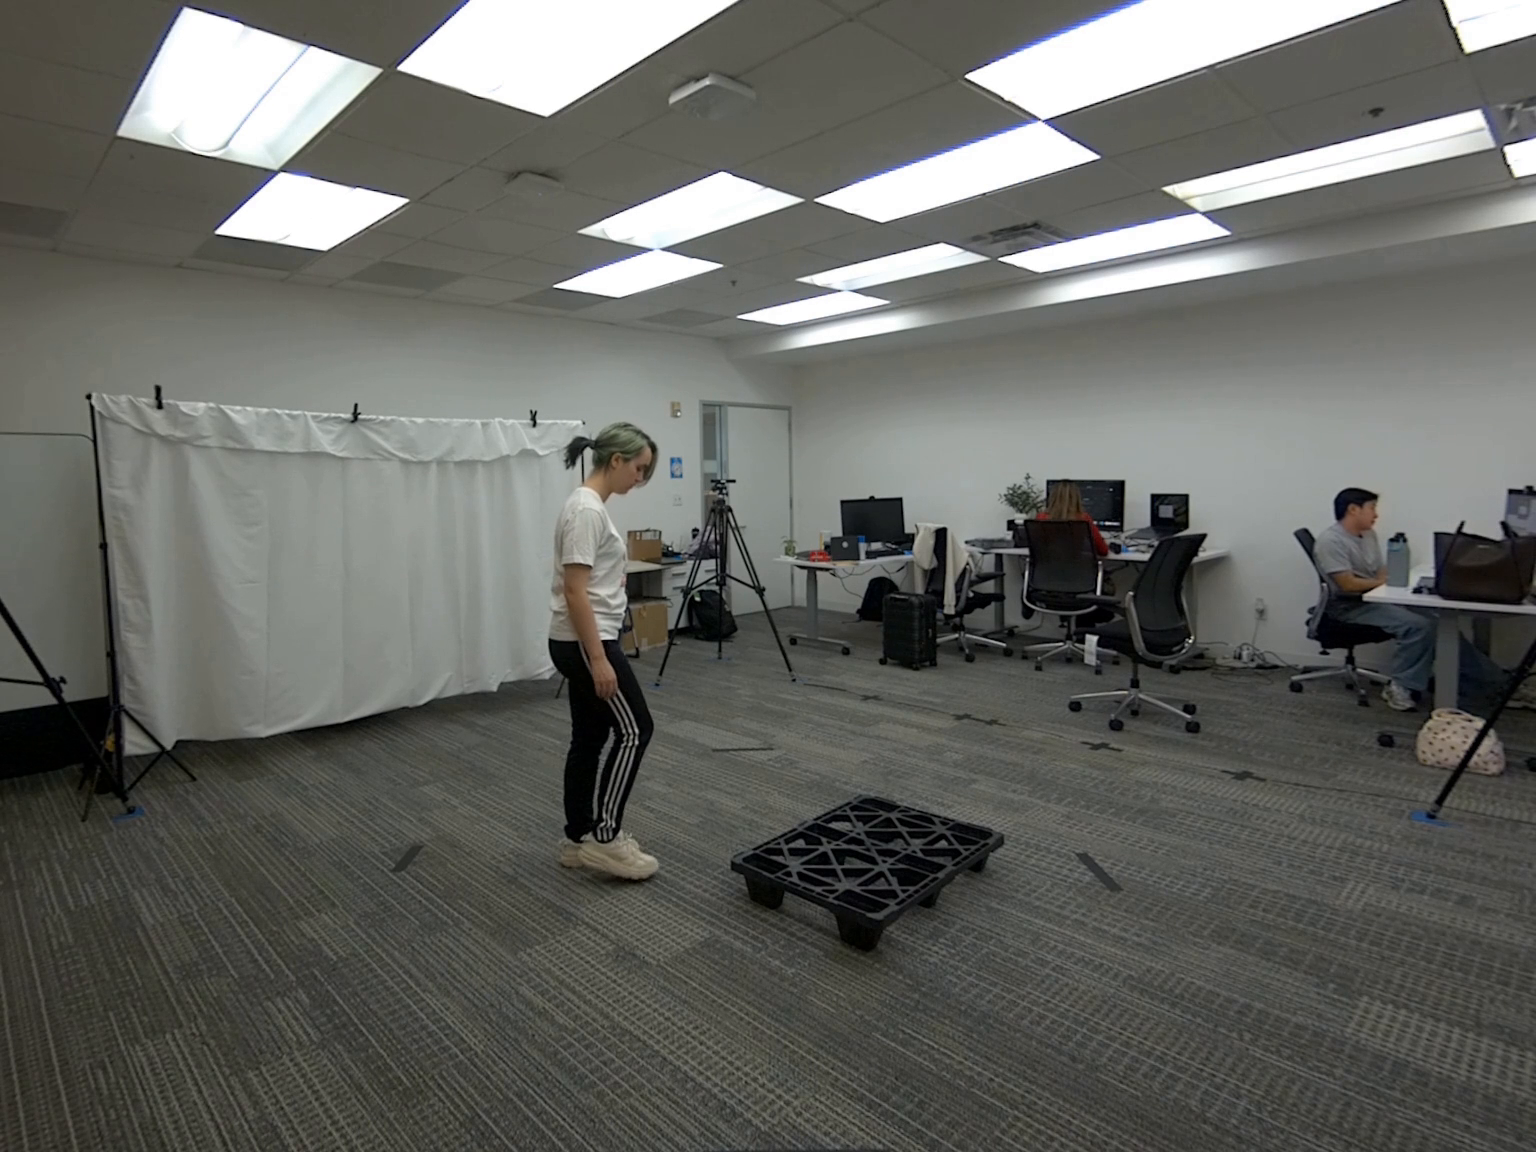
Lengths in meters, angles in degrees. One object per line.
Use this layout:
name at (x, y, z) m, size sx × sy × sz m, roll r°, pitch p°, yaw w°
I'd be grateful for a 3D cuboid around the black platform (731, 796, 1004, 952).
black platform at (0.351, 0.993, 2.933) m, size 0.623 × 0.143 × 0.785 m, roll 4°, pitch 8°, yaw 42°
